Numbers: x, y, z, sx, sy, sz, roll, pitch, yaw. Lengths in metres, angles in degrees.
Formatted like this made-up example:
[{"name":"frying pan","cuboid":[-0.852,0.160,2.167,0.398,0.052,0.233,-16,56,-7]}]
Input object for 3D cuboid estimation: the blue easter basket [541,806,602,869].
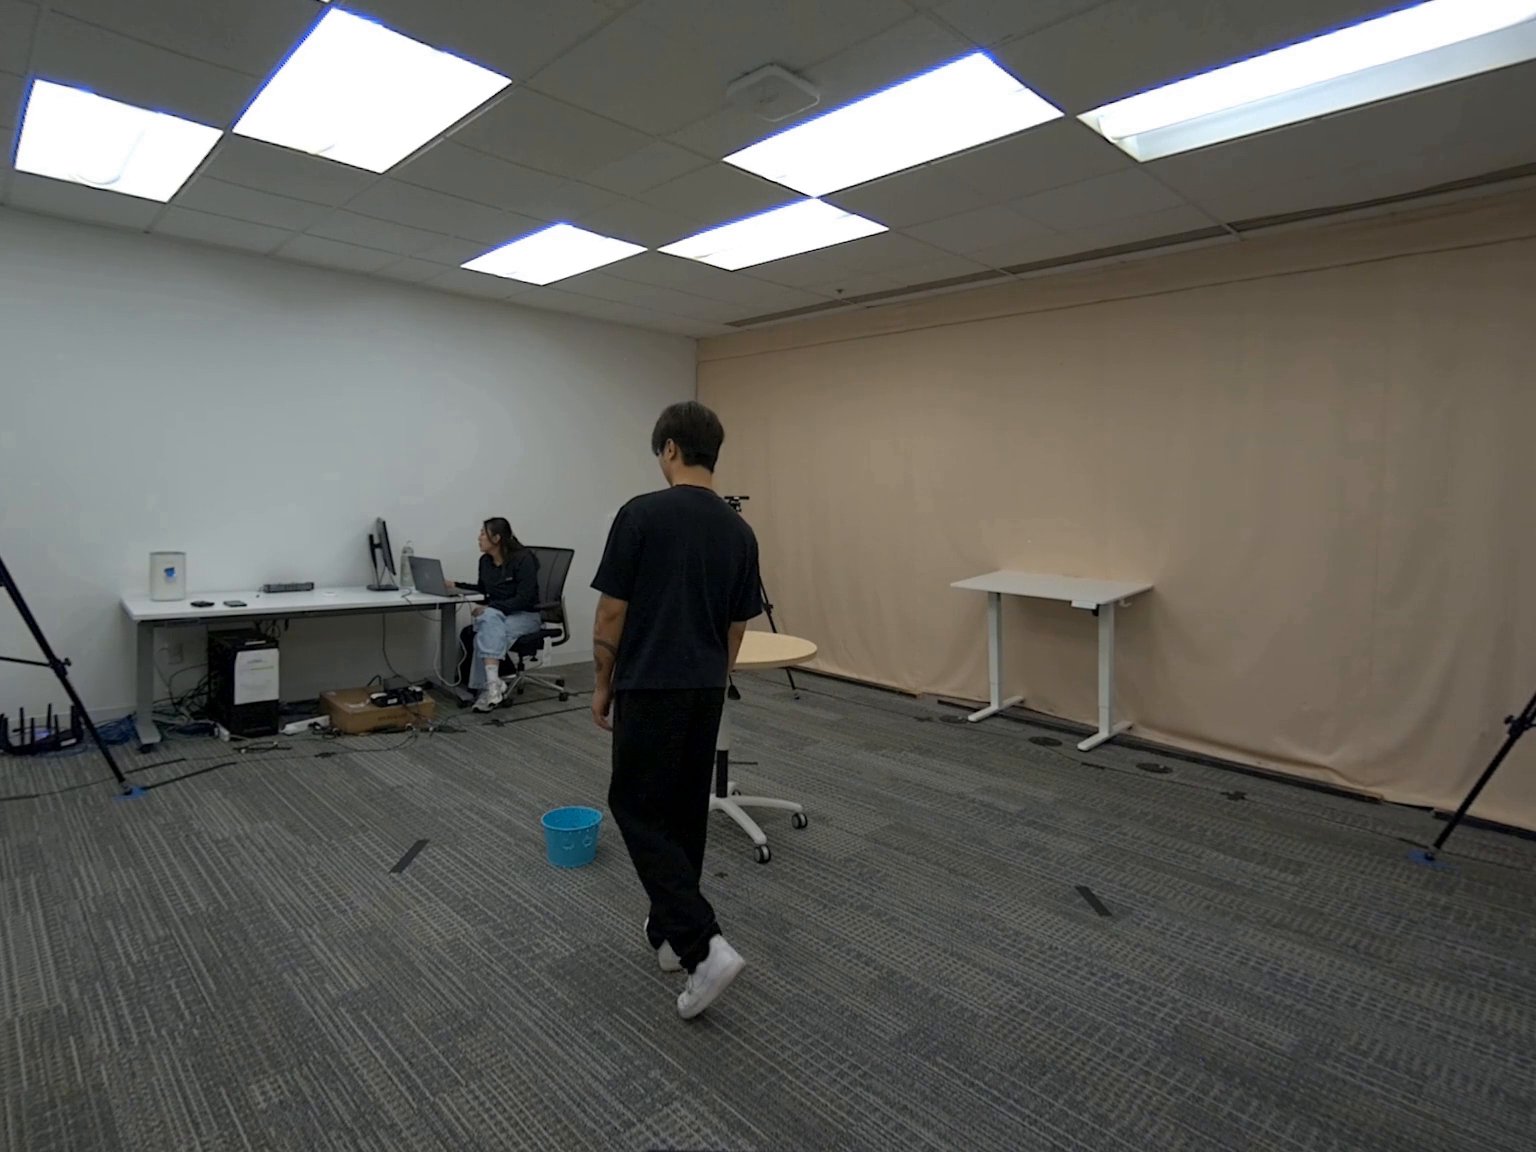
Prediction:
[{"name":"blue easter basket","cuboid":[-0.757,0.998,3.232,0.243,0.155,0.244,2,5,-2]}]
